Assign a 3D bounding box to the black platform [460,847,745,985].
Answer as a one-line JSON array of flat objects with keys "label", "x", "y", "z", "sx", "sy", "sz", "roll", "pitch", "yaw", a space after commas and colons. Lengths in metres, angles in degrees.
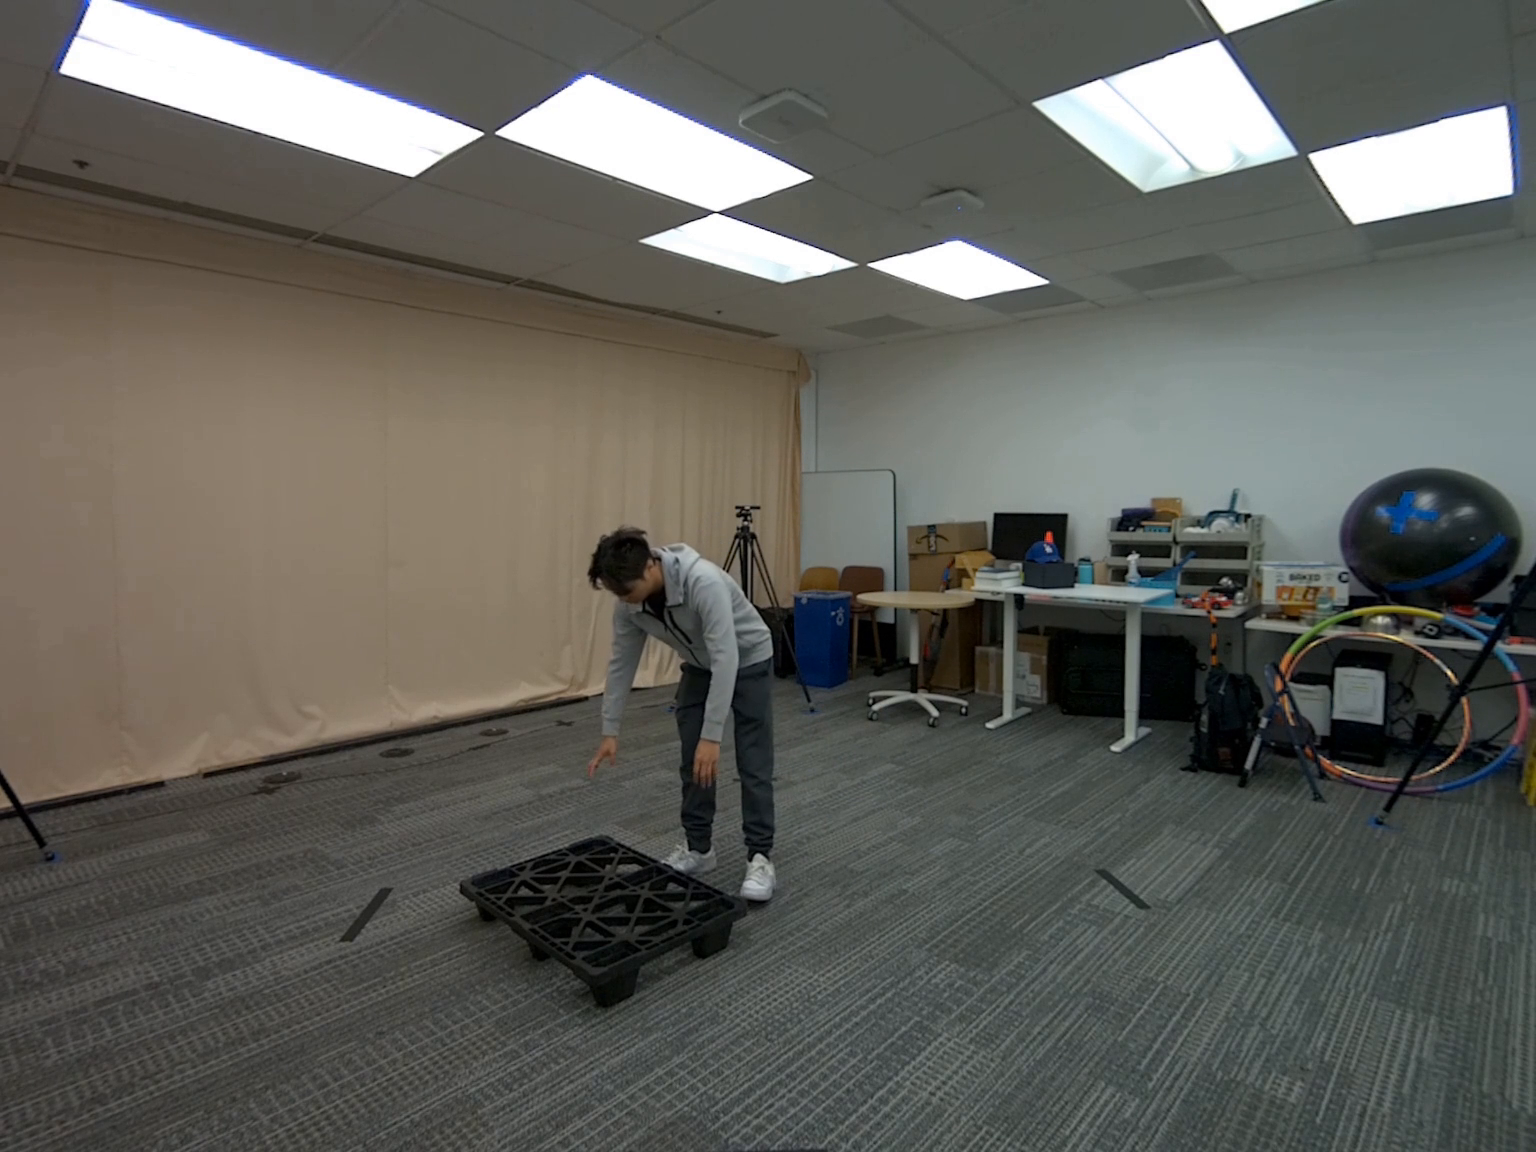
[{"label": "black platform", "x": -0.557, "y": 1.101, "z": 2.758, "sx": 0.586, "sy": 0.143, "sz": 0.832, "roll": -5, "pitch": 6, "yaw": -44}]
